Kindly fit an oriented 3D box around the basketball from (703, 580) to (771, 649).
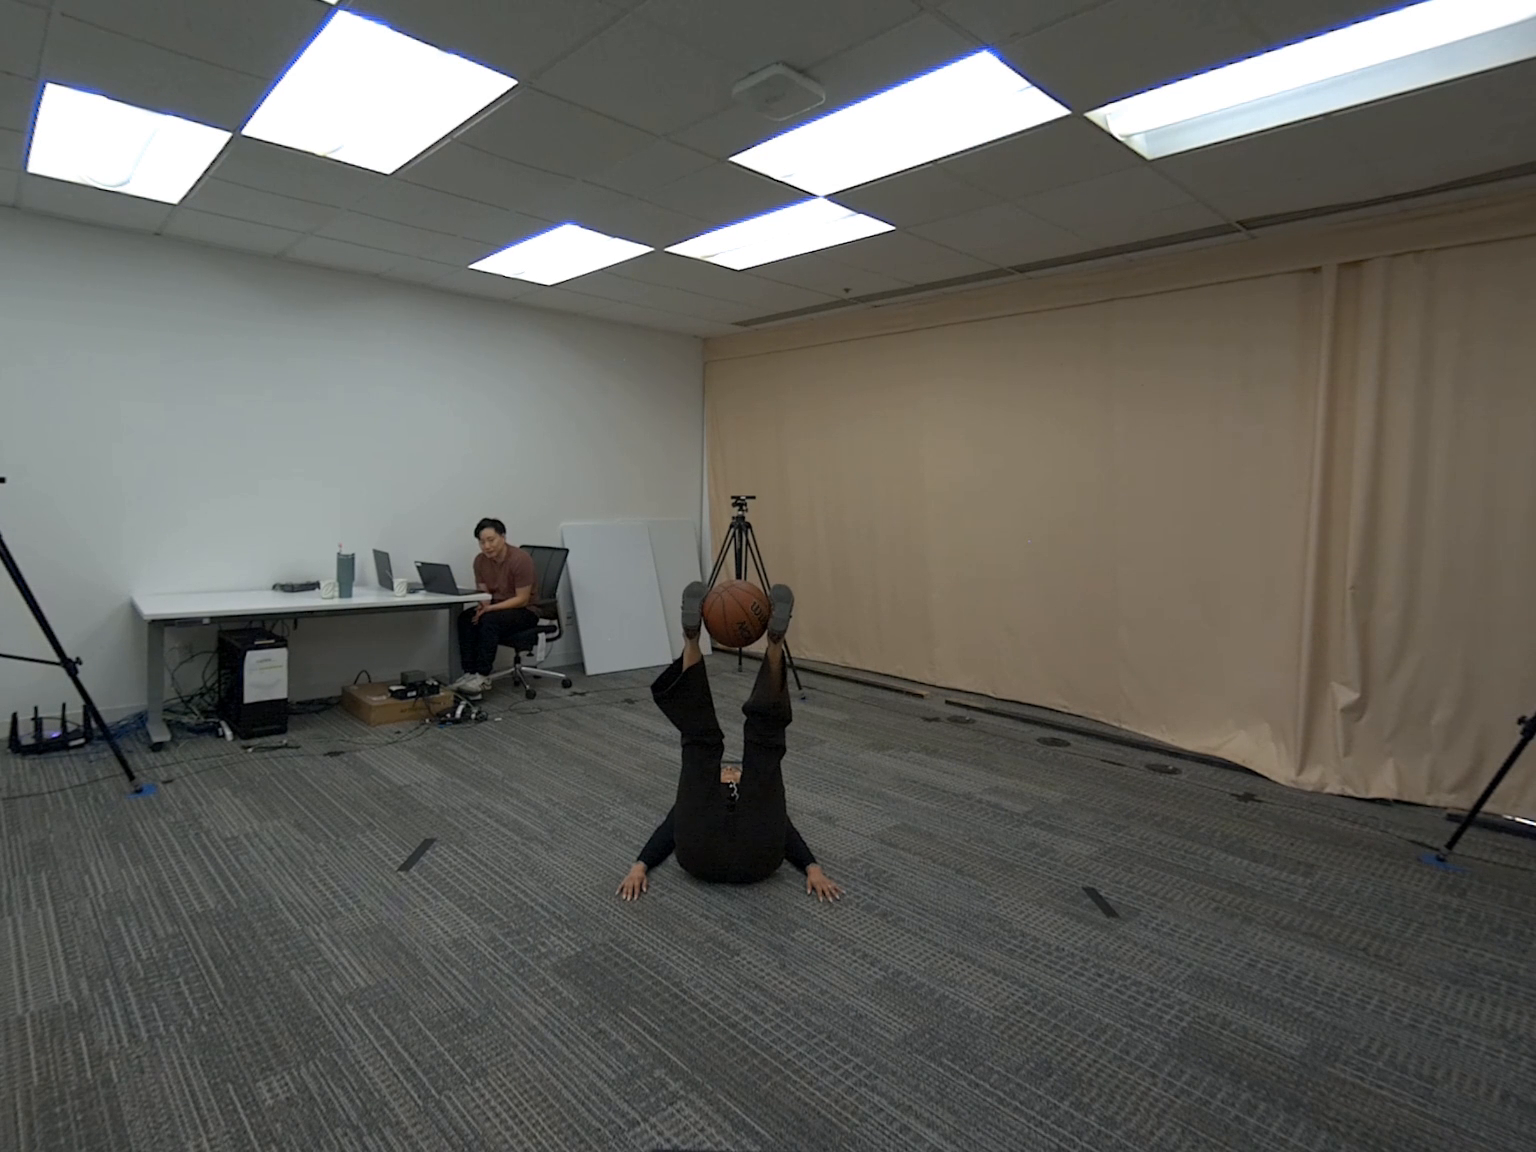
[{"bbox_3d":[-0.117,0.129,2.918,0.235,0.235,0.237,4,5,-2],"label":"basketball"}]
